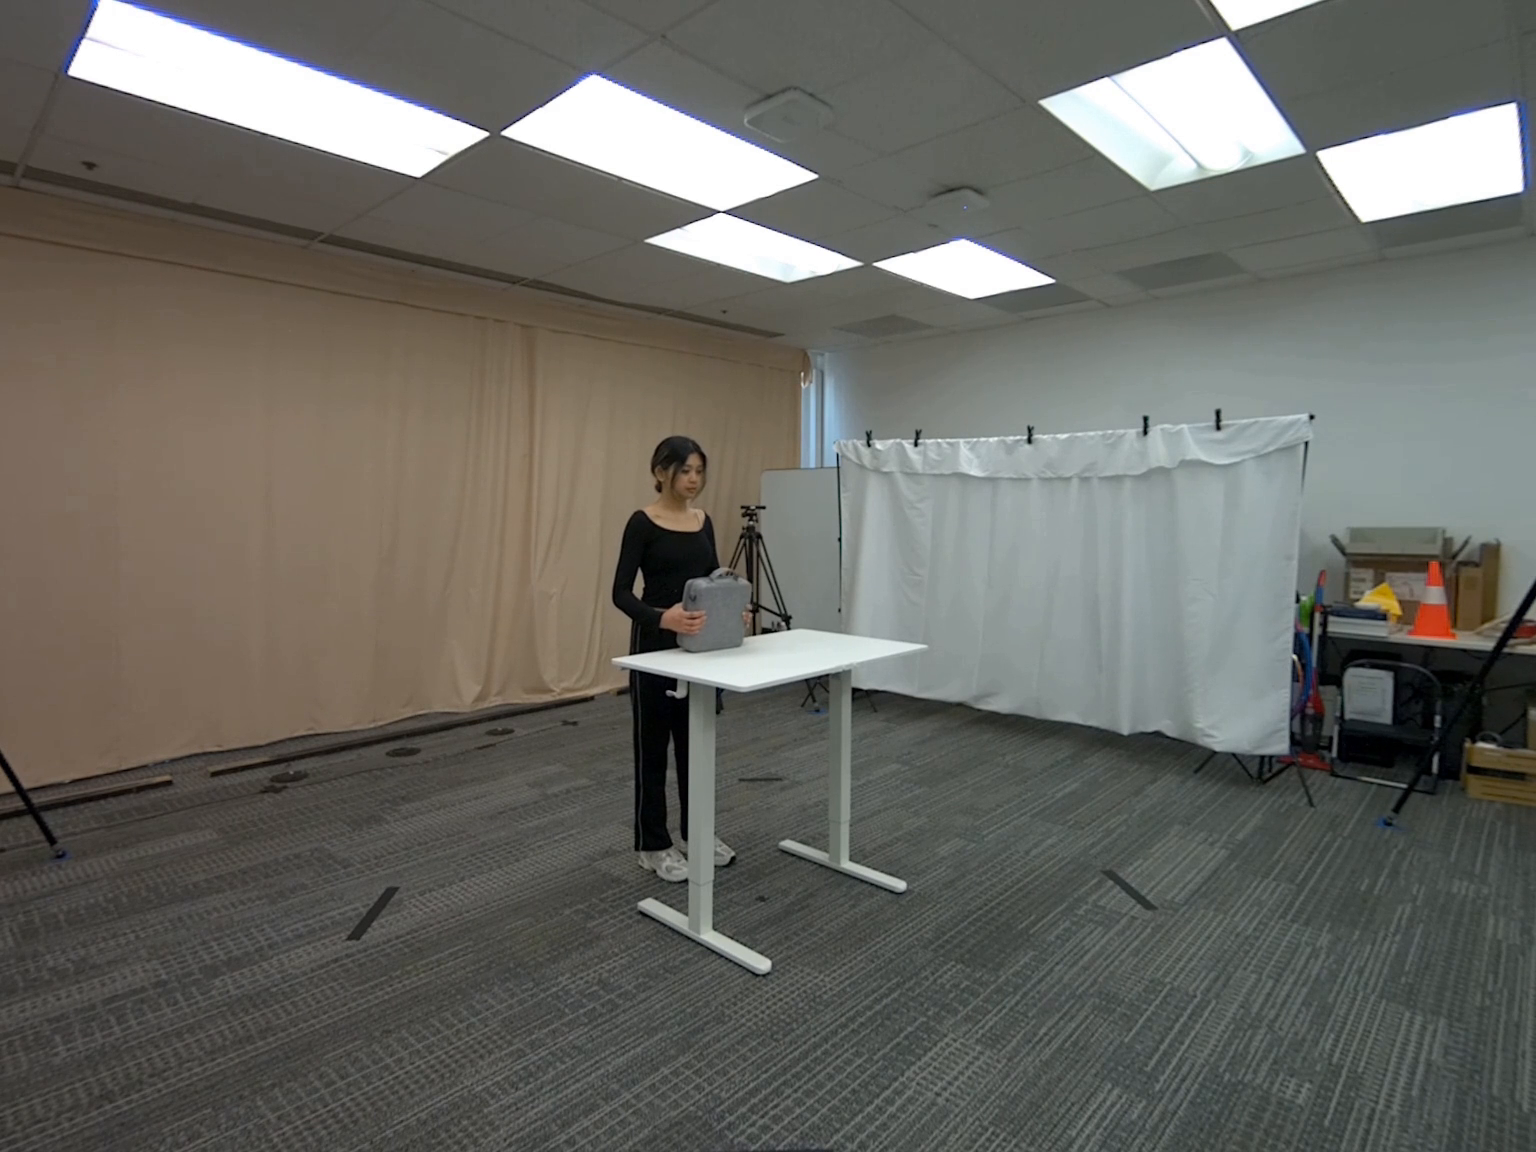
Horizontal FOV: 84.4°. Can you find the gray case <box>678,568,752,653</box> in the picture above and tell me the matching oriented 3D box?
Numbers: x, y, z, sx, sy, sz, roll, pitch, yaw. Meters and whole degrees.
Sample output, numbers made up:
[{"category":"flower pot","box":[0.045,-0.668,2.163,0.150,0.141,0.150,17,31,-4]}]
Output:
[{"category":"gray case","box":[-0.187,0.130,2.973,0.249,0.259,0.108,-3,16,-39]}]
